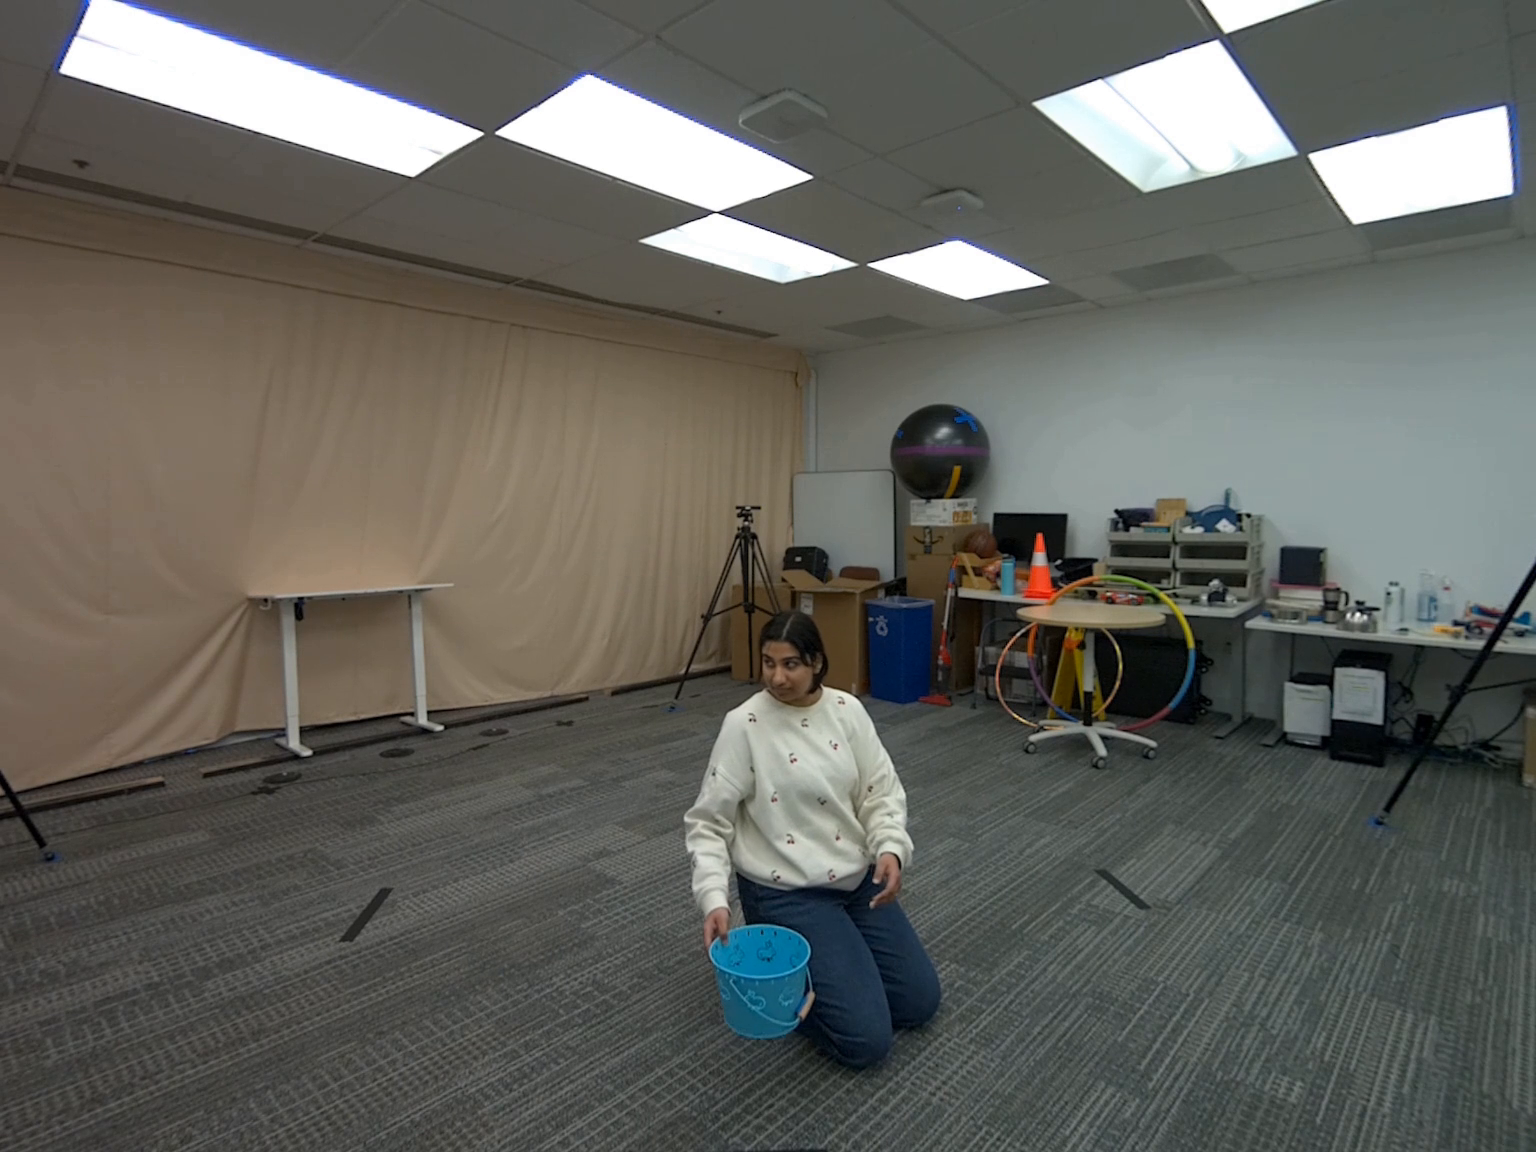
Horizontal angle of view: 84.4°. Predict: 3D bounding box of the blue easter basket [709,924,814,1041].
[{"bbox_3d":[-0.013,0.934,1.940,0.243,0.155,0.244,-5,4,-2],"label":"blue easter basket"}]
